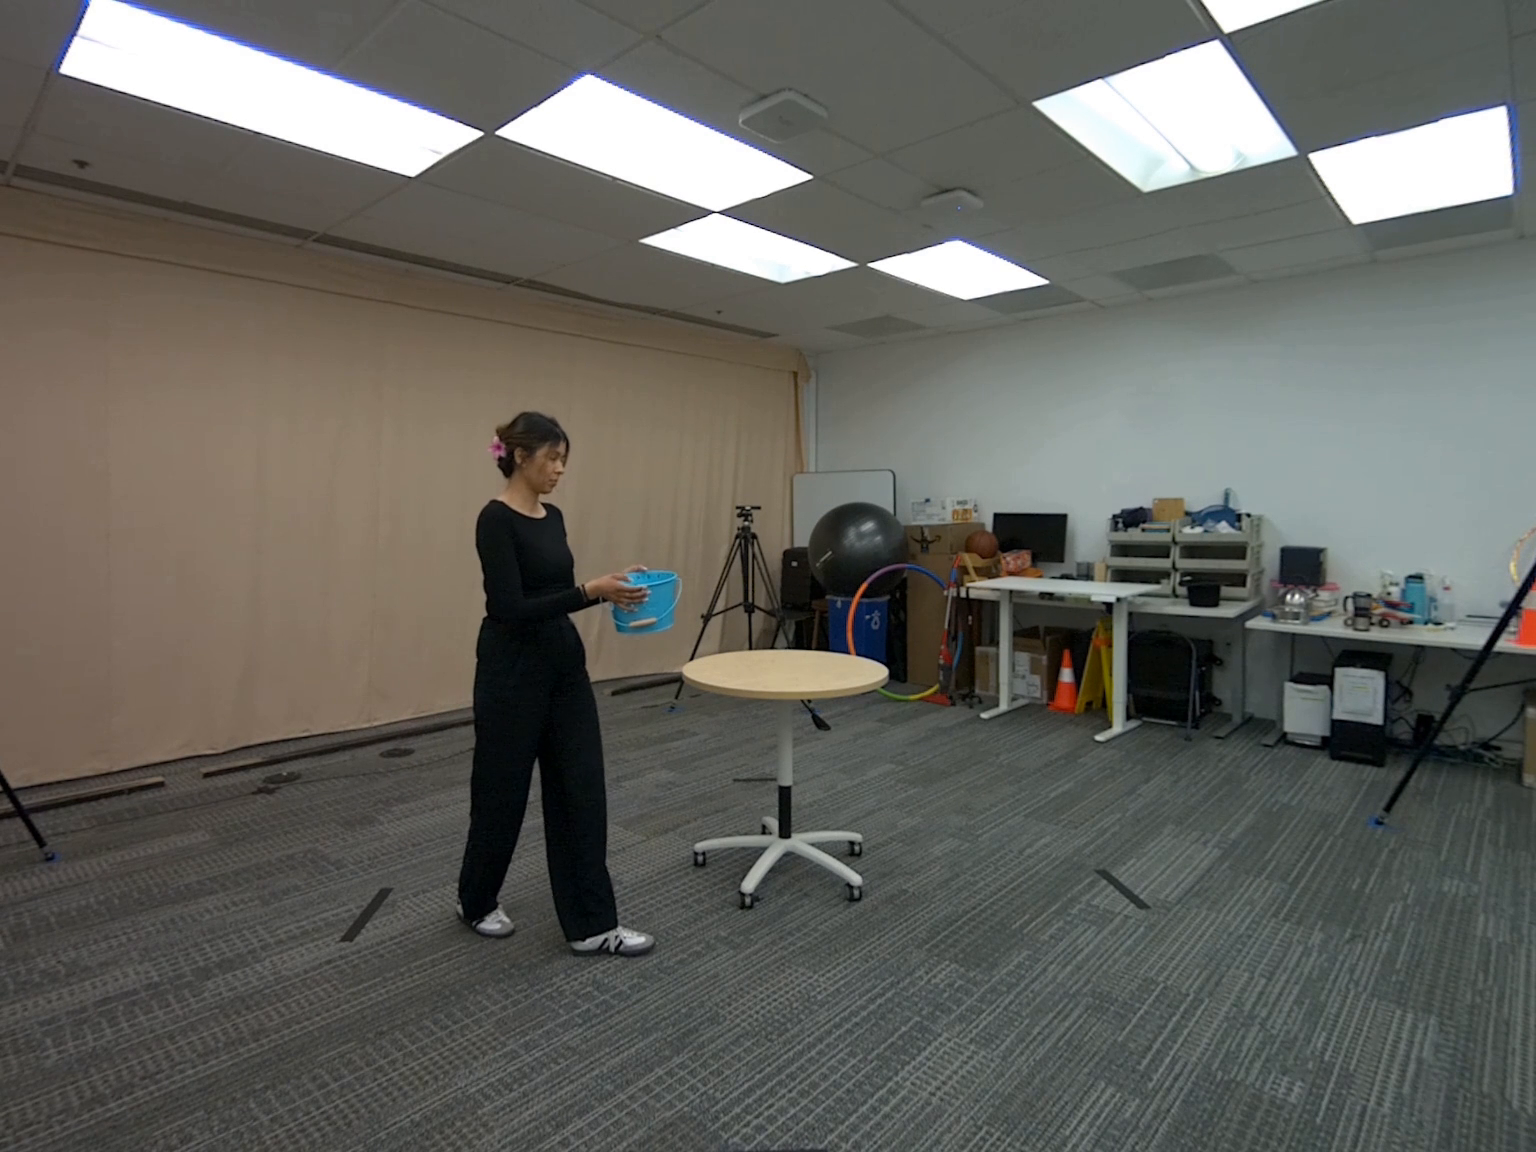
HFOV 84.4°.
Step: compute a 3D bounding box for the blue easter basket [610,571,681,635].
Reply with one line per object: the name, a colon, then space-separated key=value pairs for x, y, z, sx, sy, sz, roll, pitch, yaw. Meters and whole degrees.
blue easter basket: x=-0.402 y=0.083 z=2.584 sx=0.243 sy=0.155 sz=0.245 roll=-5 pitch=11 yaw=-1
